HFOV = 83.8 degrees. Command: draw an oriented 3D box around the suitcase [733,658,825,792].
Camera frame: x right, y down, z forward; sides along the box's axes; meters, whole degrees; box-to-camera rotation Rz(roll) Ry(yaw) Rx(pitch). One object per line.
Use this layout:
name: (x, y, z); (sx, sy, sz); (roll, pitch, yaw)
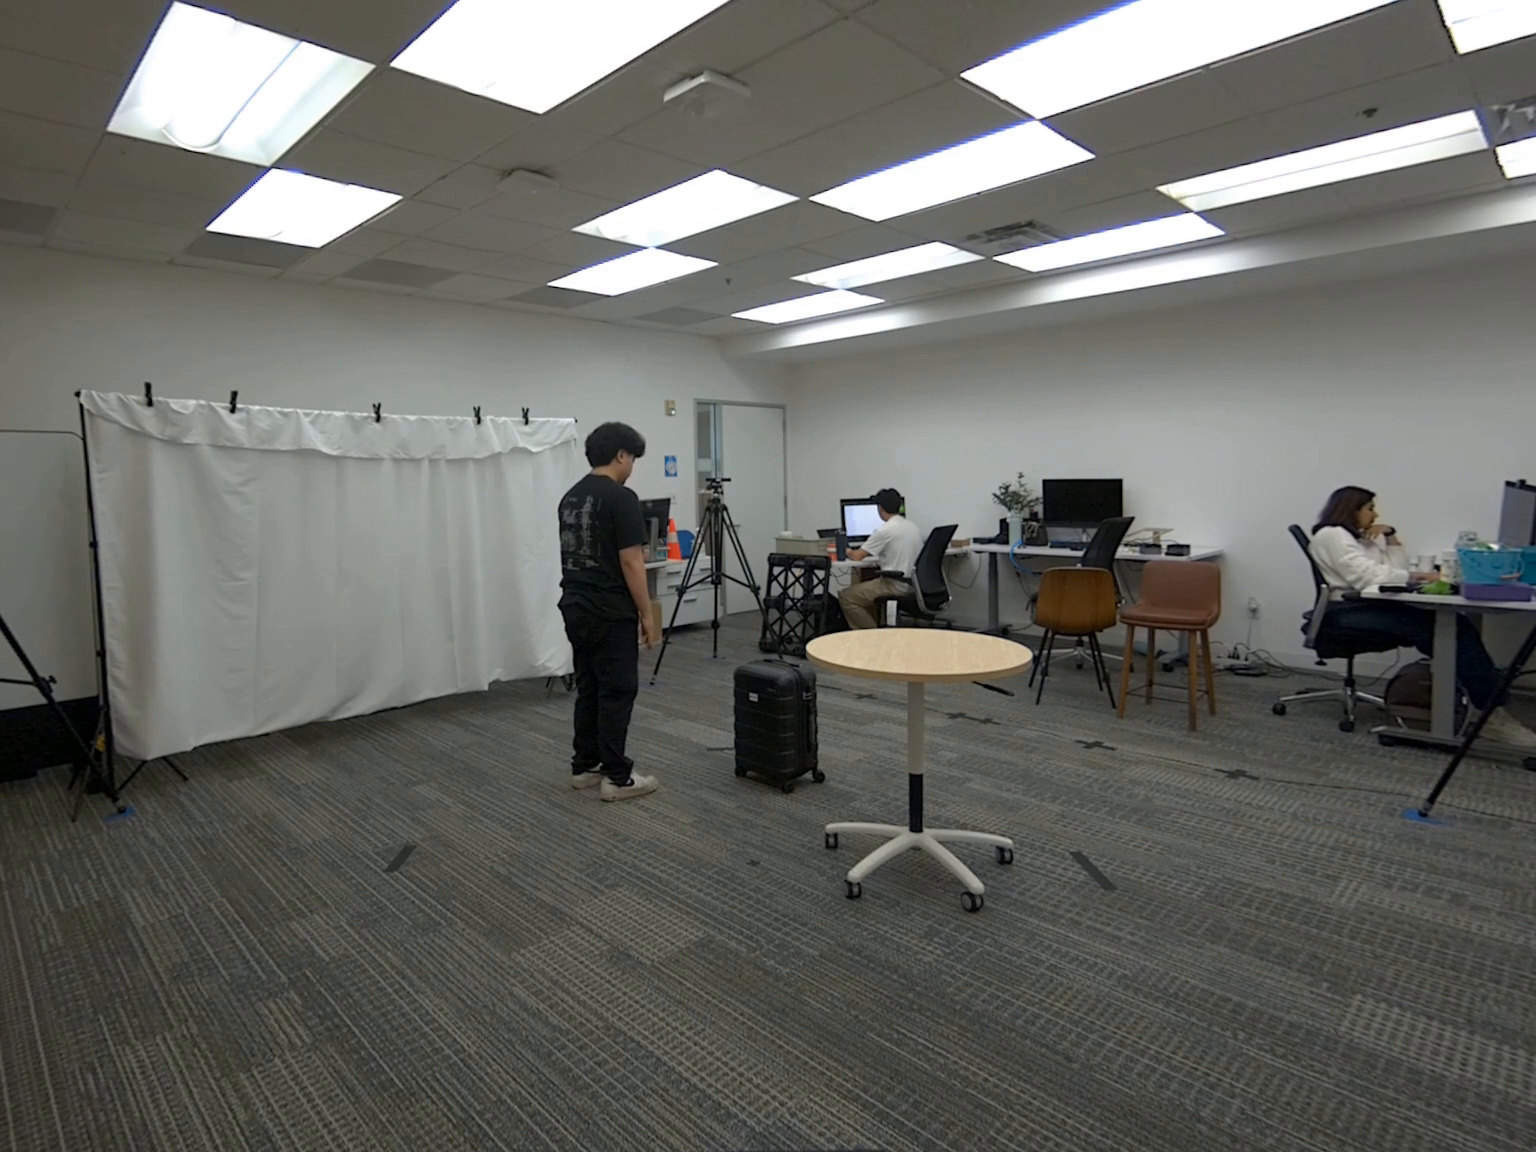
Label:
suitcase: (0.029, 0.669, 3.946); (0.387, 0.547, 0.242); (3, 7, 45)
